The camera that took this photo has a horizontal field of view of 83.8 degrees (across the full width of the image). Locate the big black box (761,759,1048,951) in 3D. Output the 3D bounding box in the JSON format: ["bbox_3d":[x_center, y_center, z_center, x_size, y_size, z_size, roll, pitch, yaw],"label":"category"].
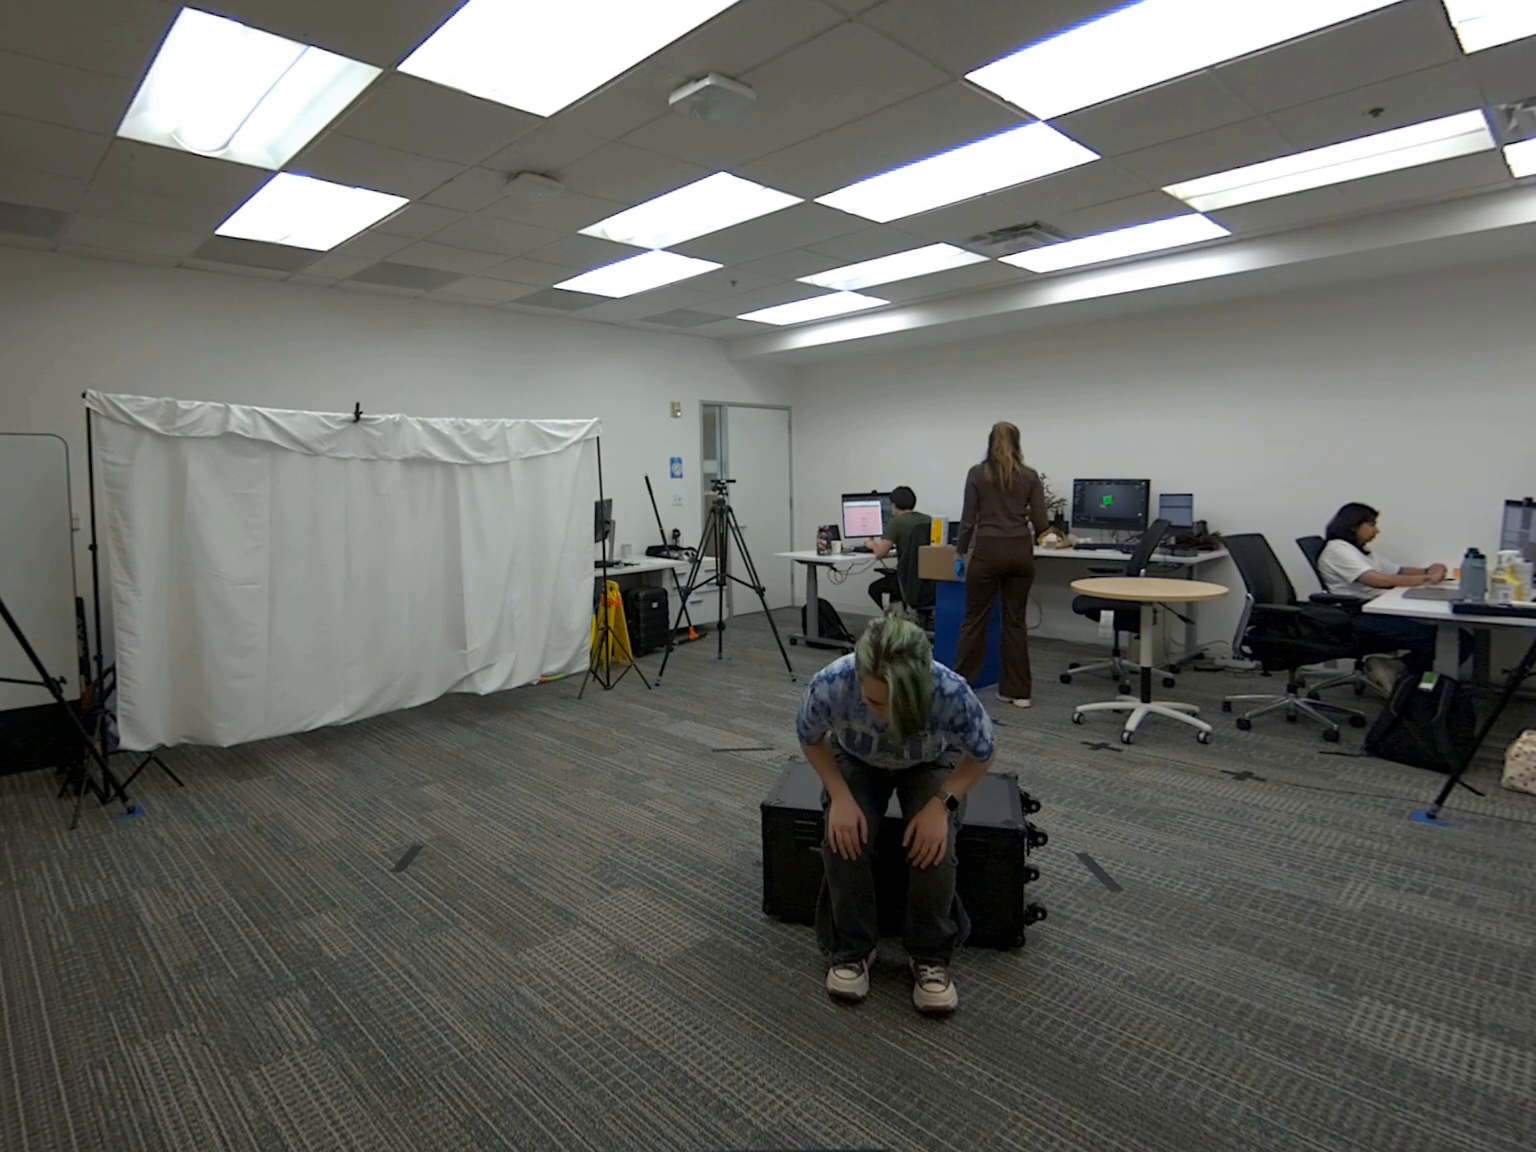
[{"bbox_3d":[0.446,0.879,2.800,0.874,0.395,0.516,0,5,15],"label":"big black box"}]
